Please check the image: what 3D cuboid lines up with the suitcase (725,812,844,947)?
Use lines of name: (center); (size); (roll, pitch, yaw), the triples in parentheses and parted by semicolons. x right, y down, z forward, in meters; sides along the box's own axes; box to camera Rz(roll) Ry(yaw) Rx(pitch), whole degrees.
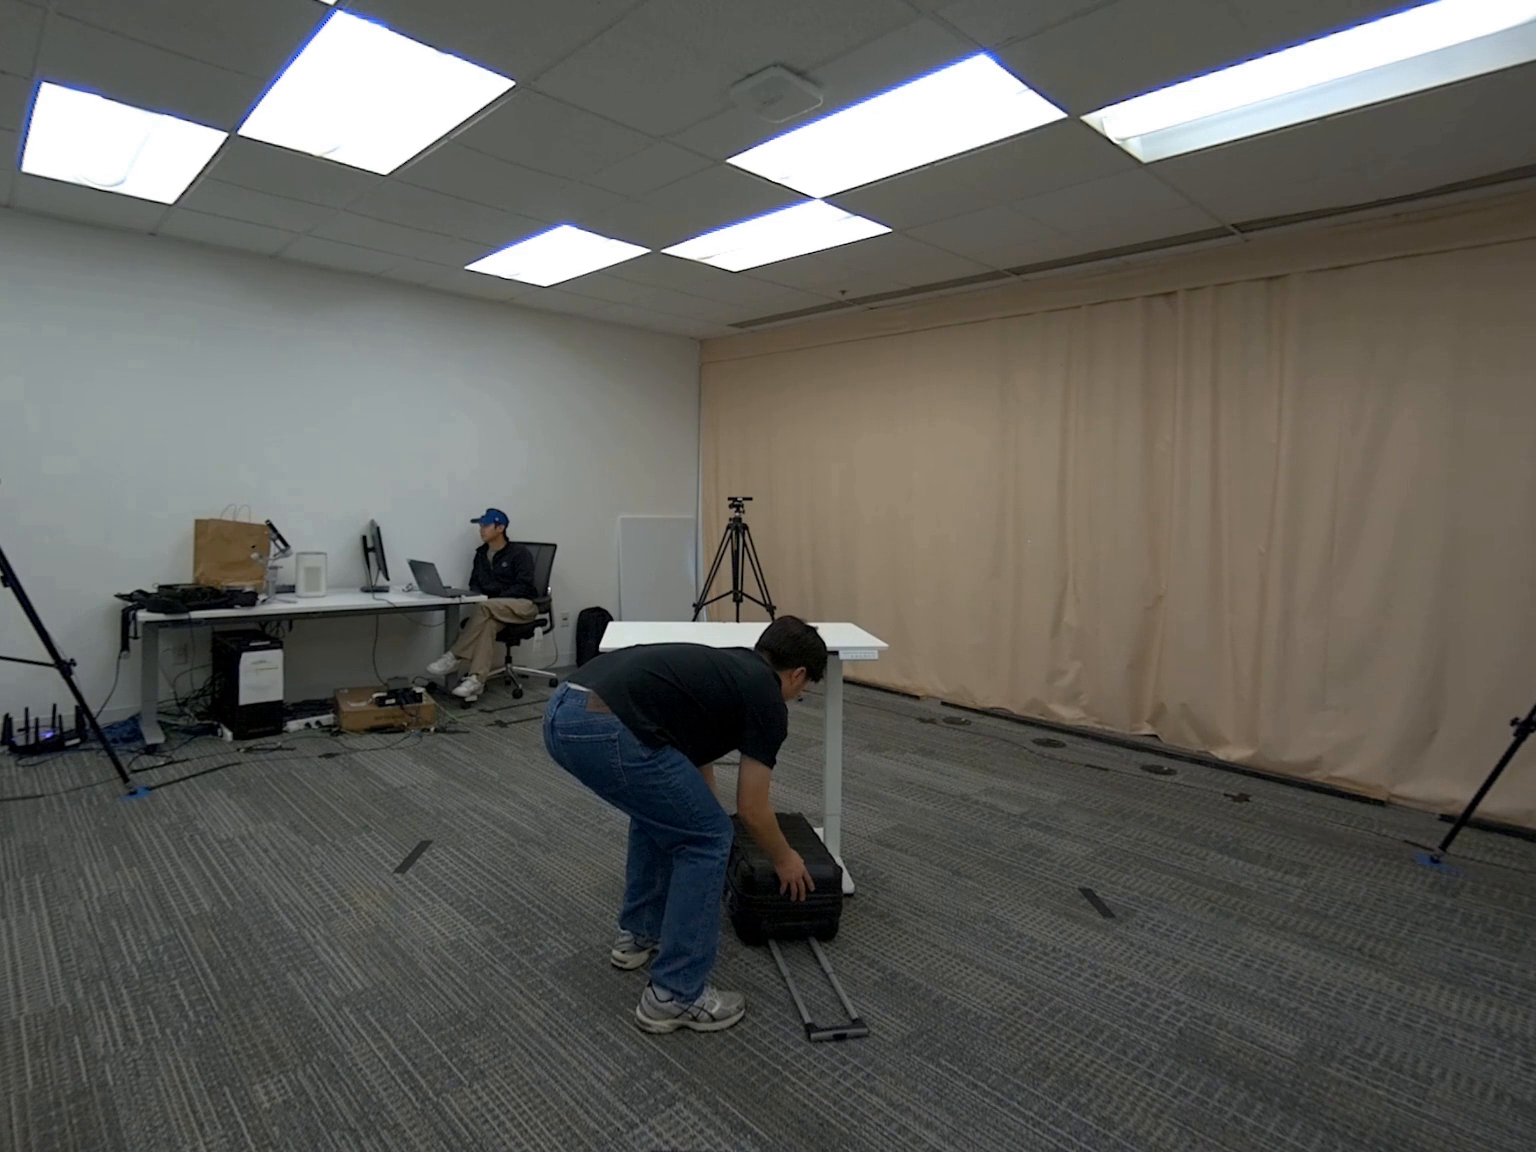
suitcase: (0.060, 1.026, 2.650); (0.380, 0.256, 0.990); (3, 4, -13)
